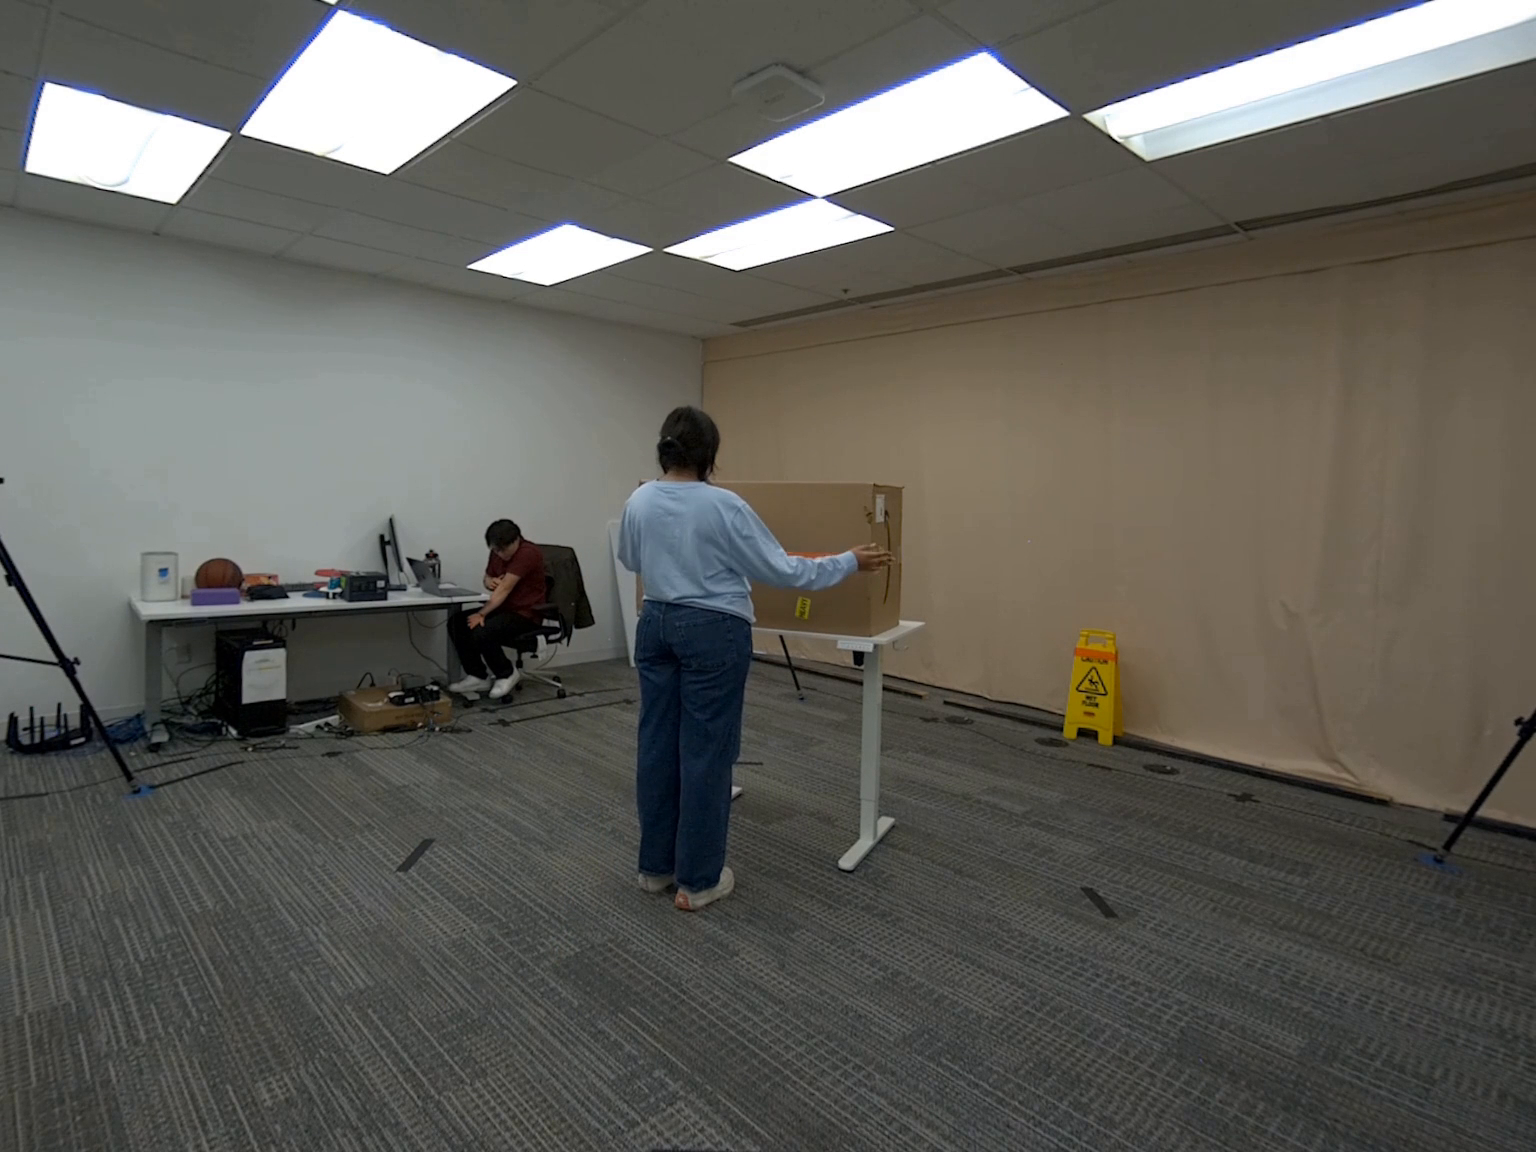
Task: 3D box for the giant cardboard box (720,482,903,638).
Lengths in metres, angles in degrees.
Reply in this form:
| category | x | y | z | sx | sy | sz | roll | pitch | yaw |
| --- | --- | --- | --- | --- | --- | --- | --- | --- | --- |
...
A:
| category | x | y | z | sx | sy | sz | roll | pitch | yaw |
| --- | --- | --- | --- | --- | --- | --- | --- | --- | --- |
| giant cardboard box | 0.009 | -0.092 | 3.516 | 1.046 | 0.576 | 0.419 | 3 | 4 | 26 |
